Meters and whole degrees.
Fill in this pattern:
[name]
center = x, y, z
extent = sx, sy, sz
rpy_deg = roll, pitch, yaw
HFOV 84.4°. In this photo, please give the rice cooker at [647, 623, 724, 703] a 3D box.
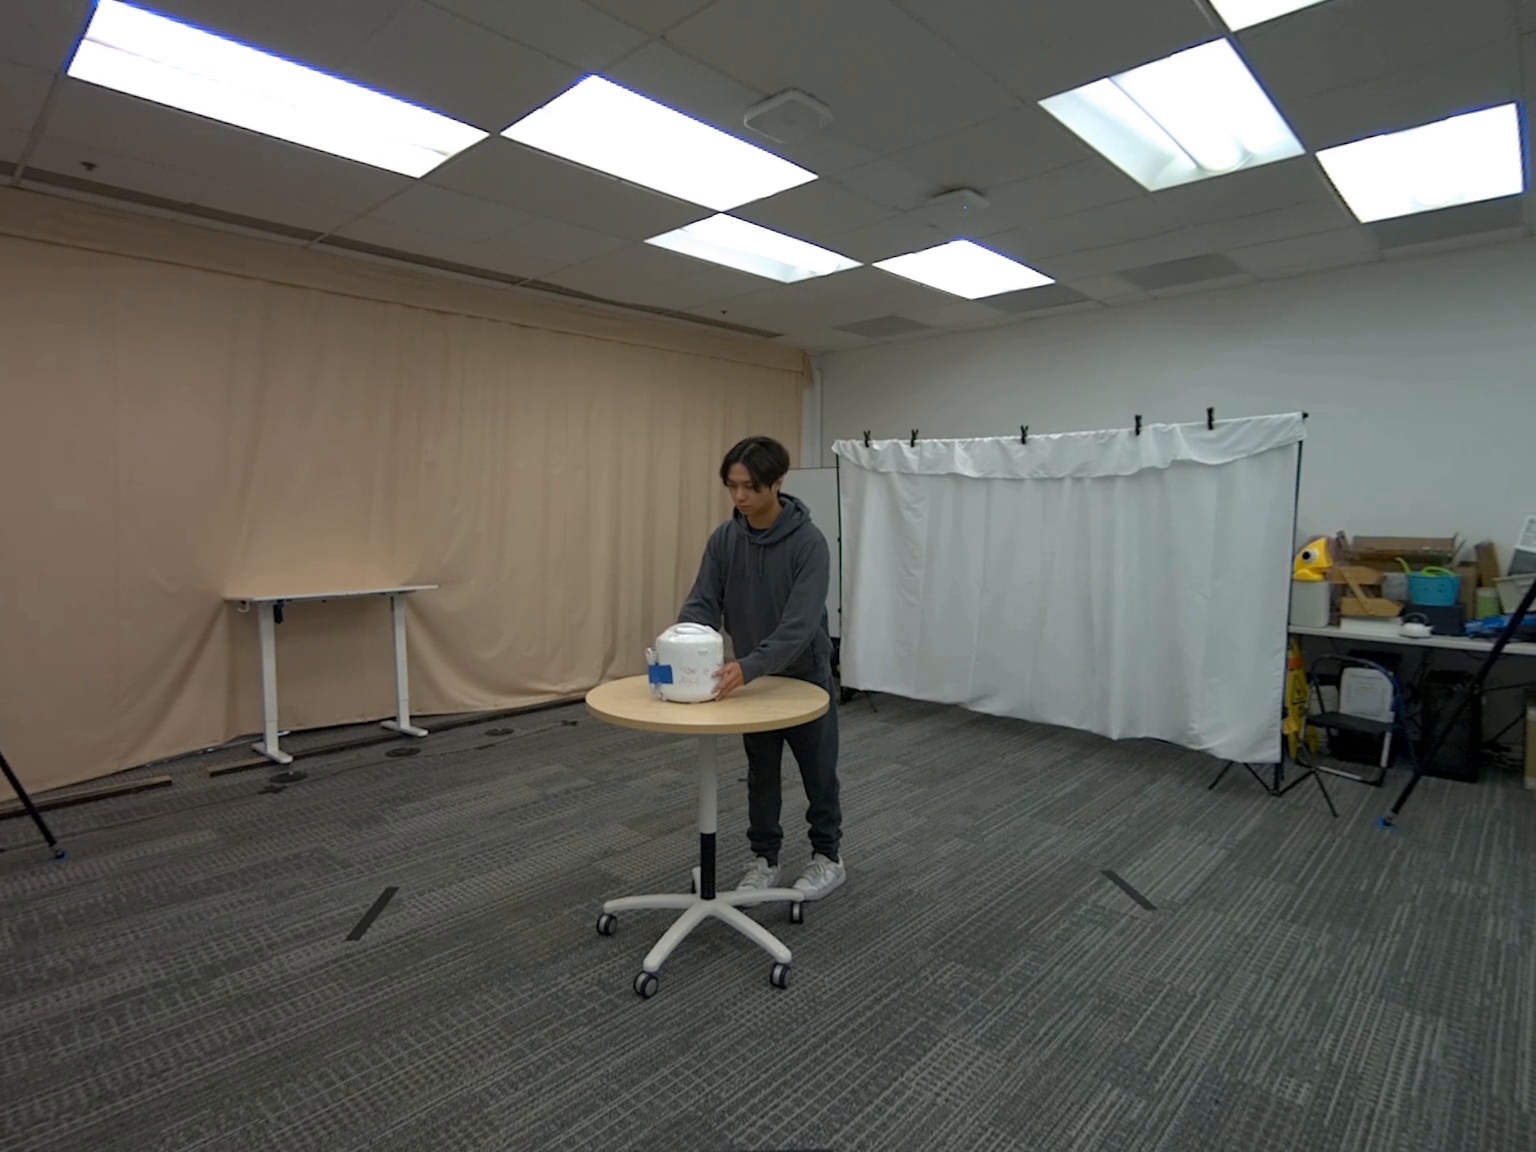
[rice cooker]
center = -0.236, 0.262, 2.620
extent = 0.226, 0.232, 0.212
rpy_deg = 1, 4, 24
